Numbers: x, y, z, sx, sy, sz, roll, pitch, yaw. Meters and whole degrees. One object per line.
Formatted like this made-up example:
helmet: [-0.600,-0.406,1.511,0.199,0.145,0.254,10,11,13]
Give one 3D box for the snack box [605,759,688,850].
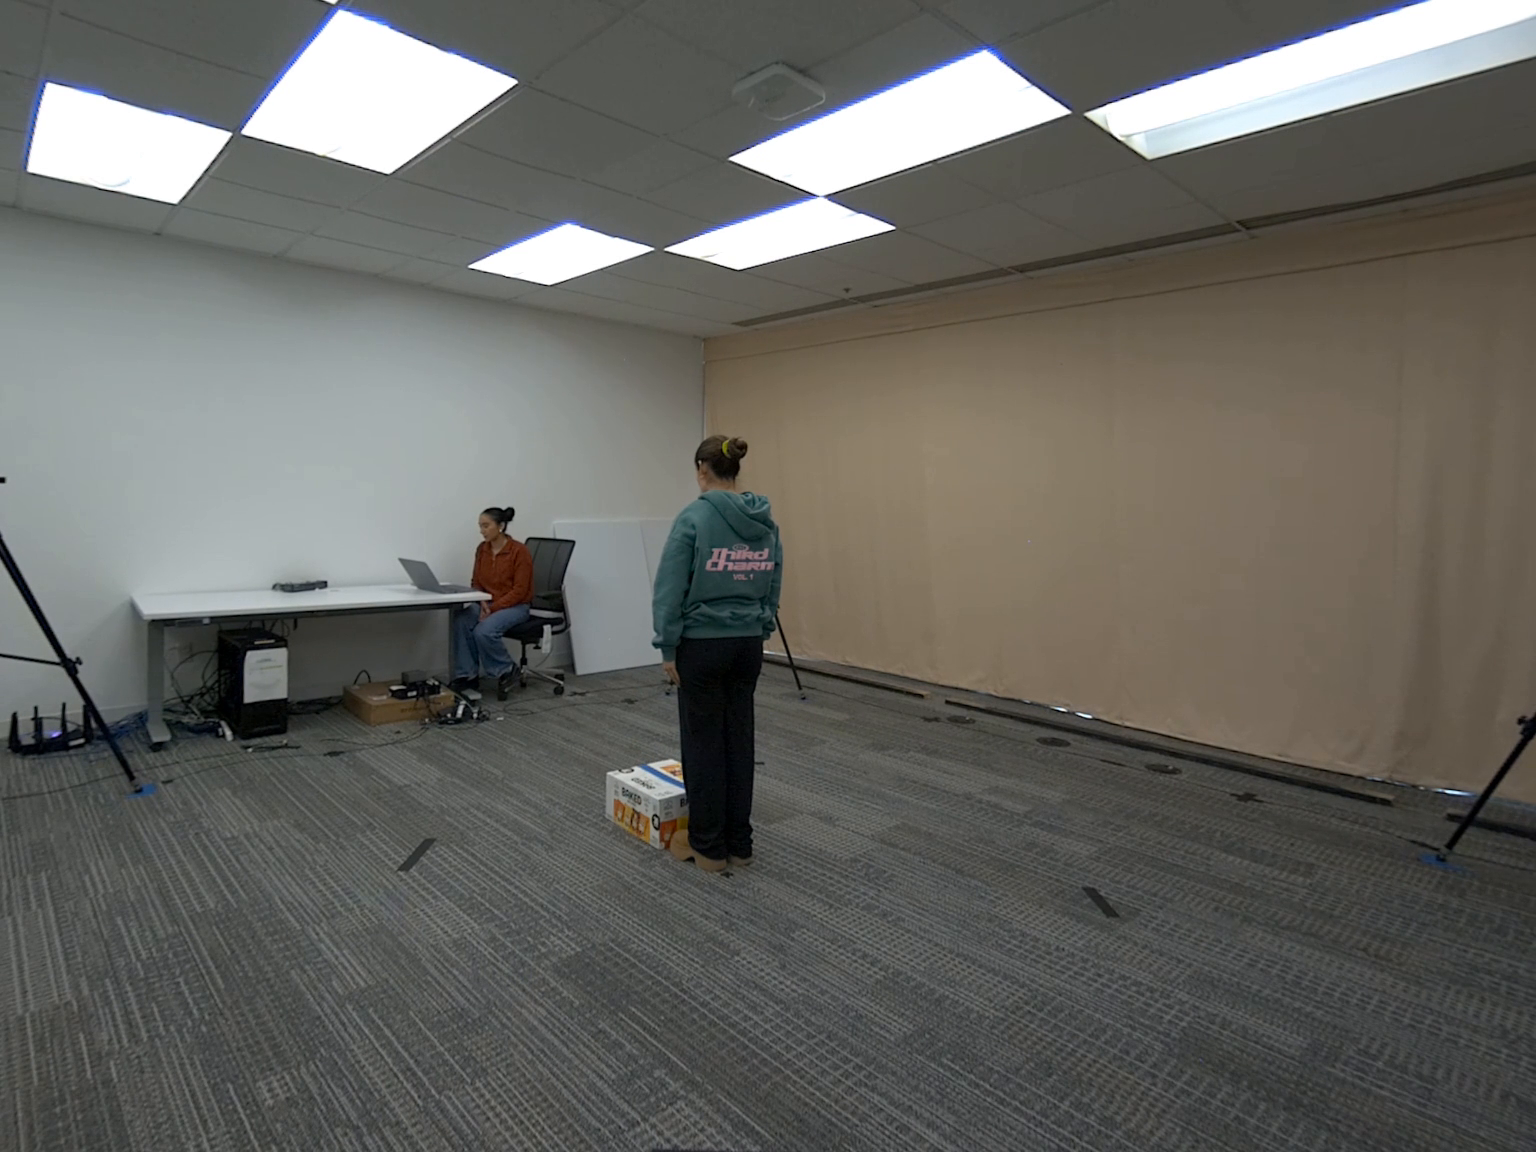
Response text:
snack box: [-0.444,0.955,3.560,0.332,0.205,0.415,-2,6,-40]
